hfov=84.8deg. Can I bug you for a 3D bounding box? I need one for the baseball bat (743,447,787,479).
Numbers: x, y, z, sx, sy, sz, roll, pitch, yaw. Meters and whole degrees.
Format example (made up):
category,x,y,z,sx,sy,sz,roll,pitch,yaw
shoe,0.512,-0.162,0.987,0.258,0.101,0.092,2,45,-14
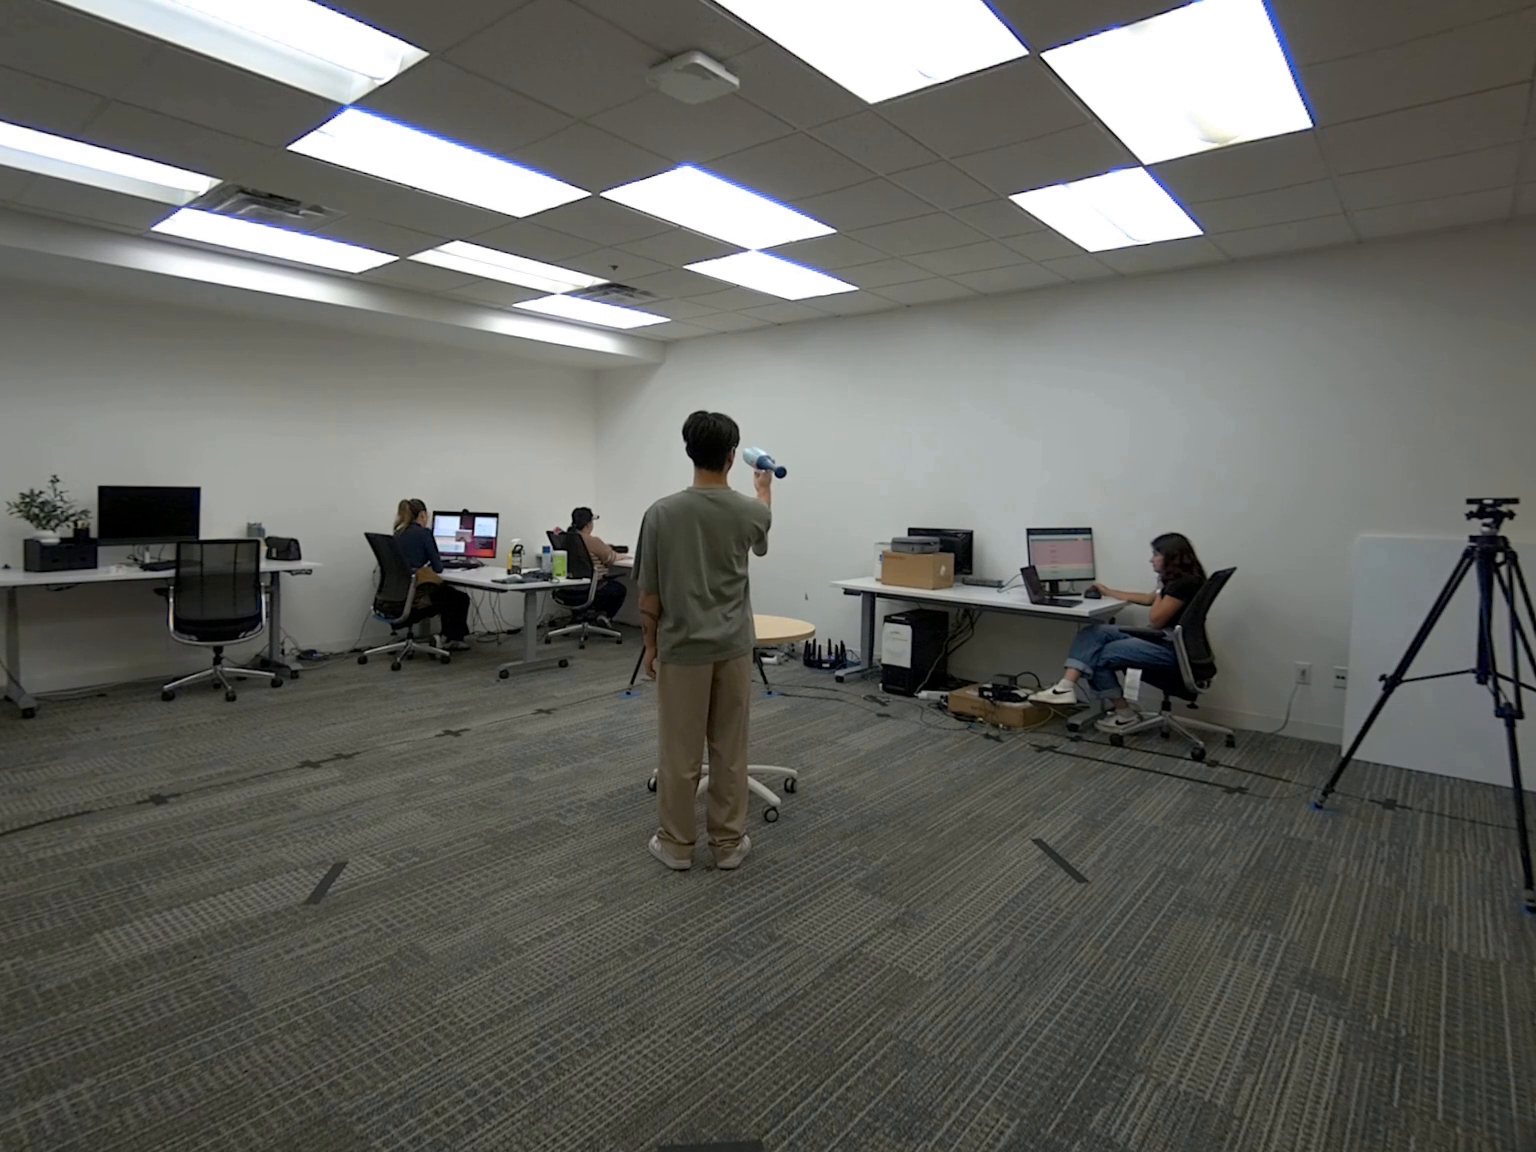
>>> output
category,x,y,z,sx,sy,sz,roll,pitch,yaw
baseball bat,-0.023,-0.483,3.649,0.088,0.088,0.557,0,16,-14
